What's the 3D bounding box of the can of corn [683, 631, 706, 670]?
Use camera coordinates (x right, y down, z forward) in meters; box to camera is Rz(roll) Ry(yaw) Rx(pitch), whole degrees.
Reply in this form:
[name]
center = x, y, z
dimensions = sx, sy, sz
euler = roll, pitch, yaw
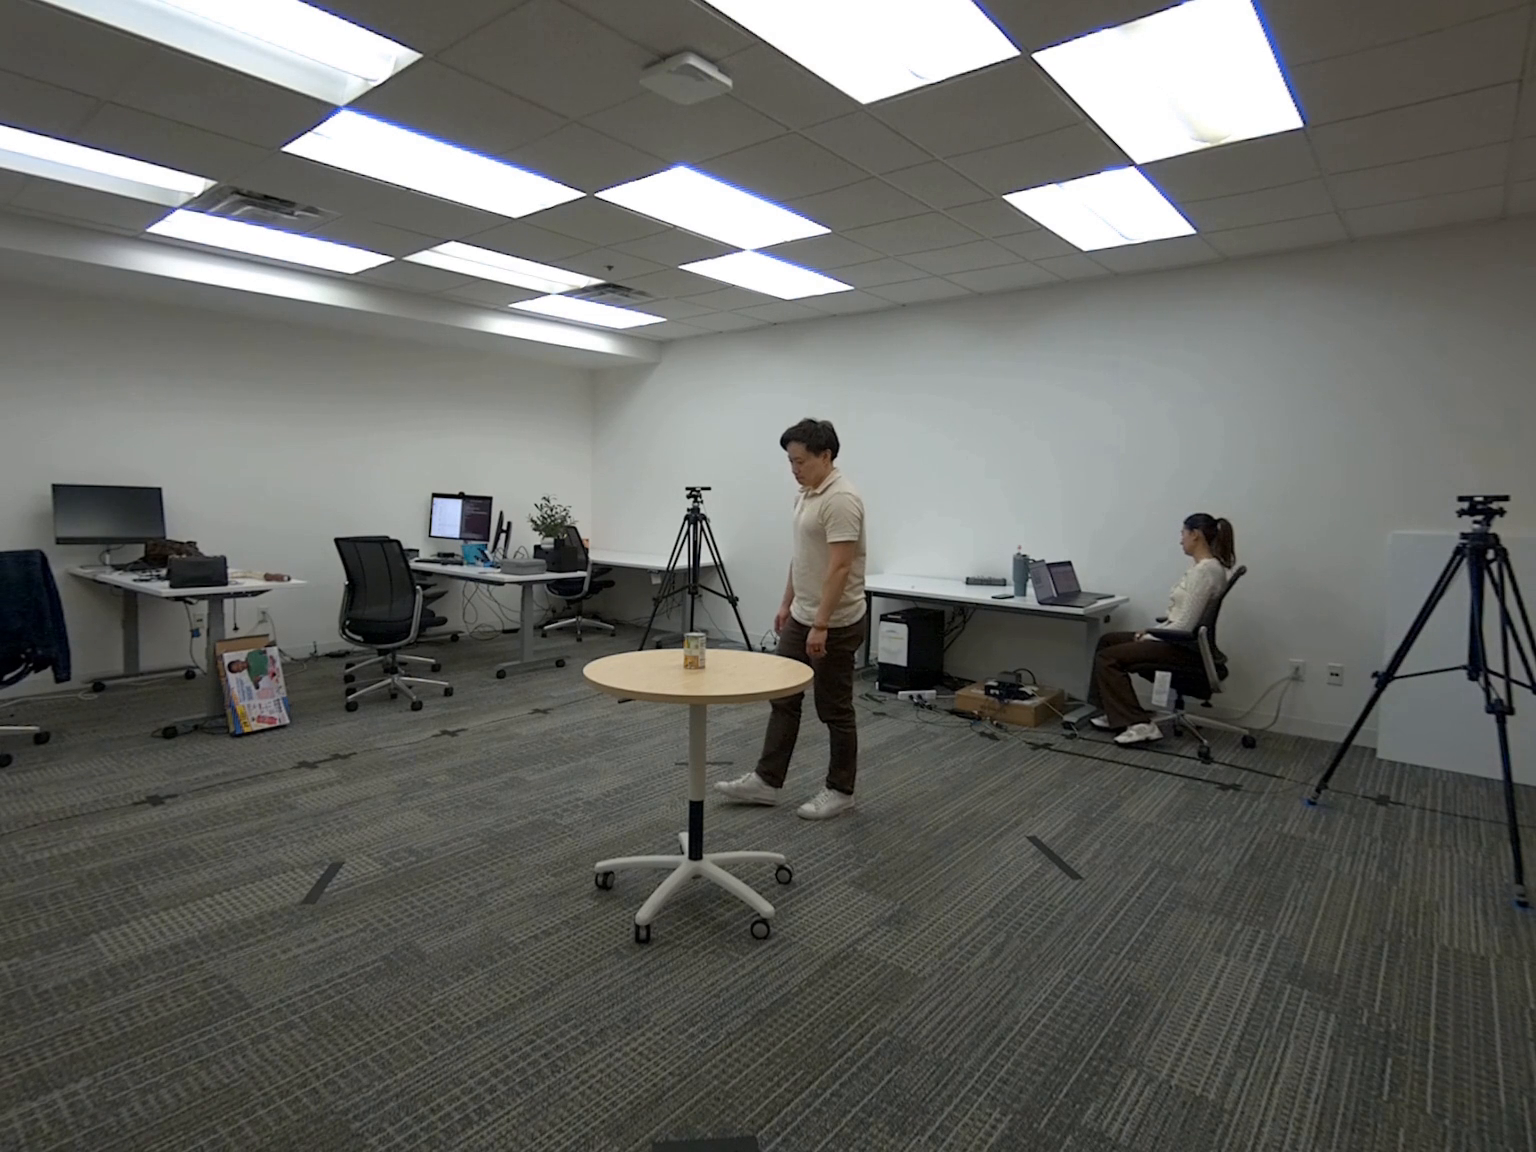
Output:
[can of corn]
center = -0.257, 0.247, 2.863
dimensions = 0.074, 0.111, 0.074
euler = 0, 4, -2
